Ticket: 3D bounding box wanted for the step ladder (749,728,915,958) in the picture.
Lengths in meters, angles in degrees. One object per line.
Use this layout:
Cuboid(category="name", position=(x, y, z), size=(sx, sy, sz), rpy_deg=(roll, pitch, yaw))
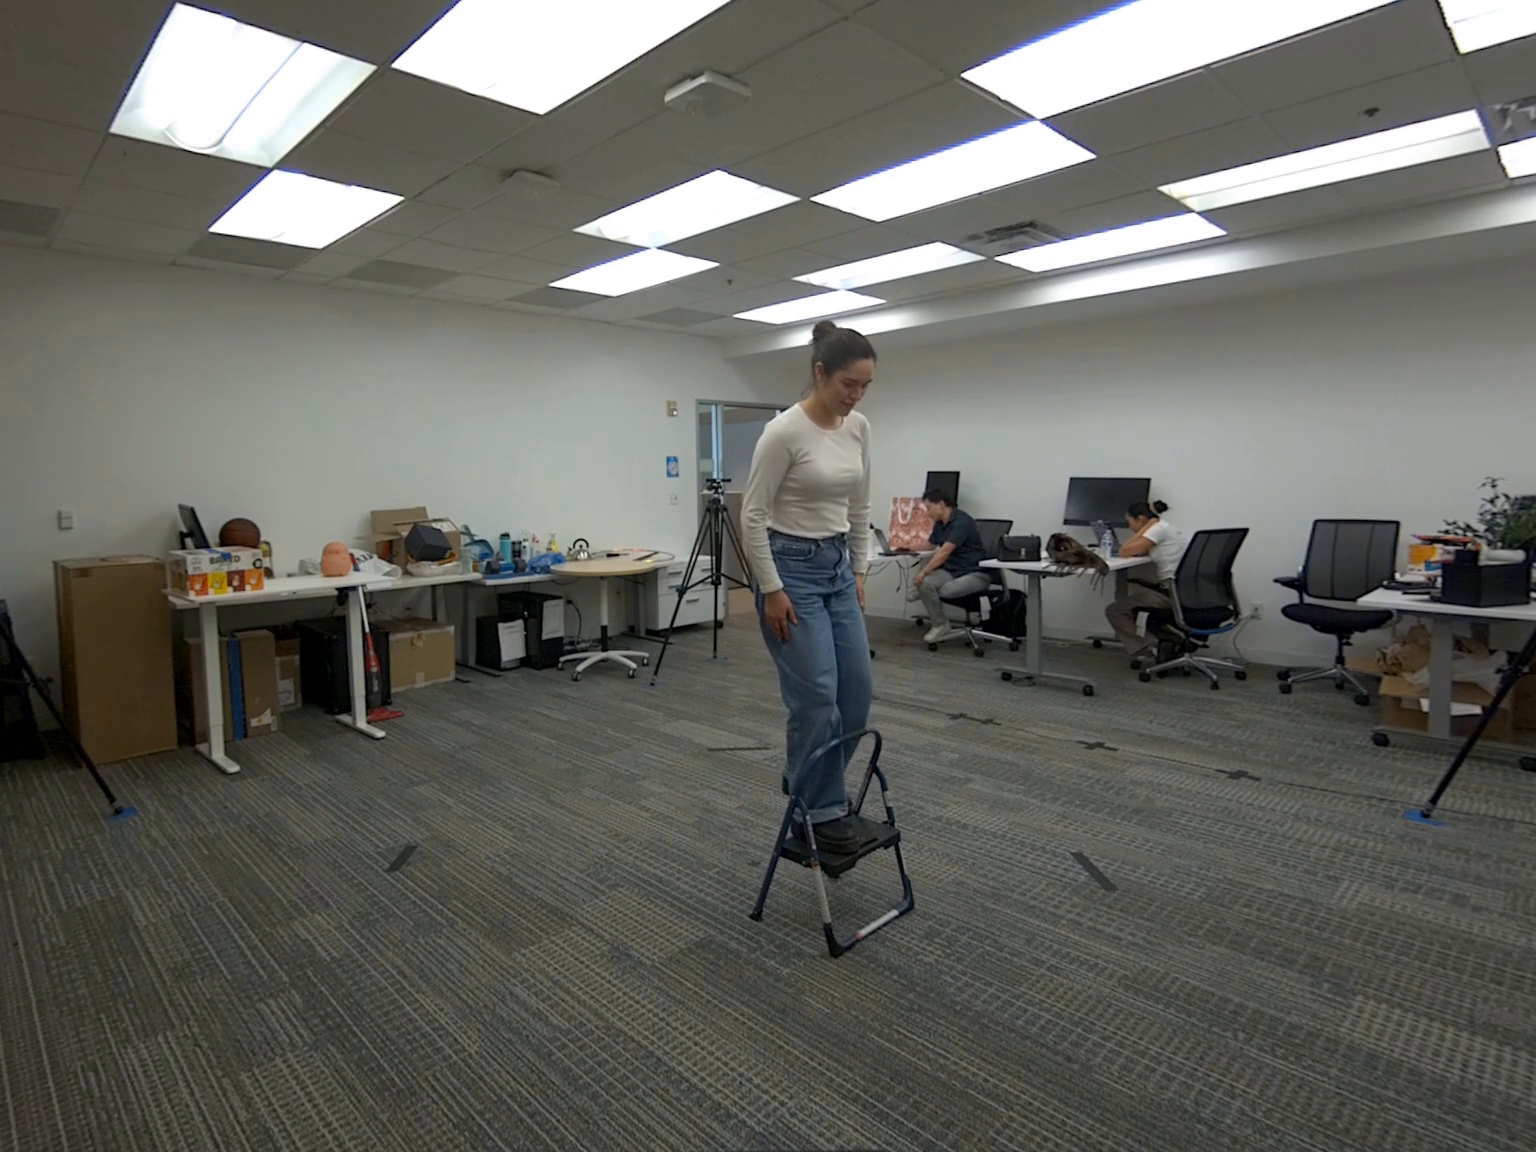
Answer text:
Cuboid(category="step ladder", position=(0.209, 0.781, 2.726), size=(0.360, 0.604, 0.419), rpy_deg=(3, 6, 44))
